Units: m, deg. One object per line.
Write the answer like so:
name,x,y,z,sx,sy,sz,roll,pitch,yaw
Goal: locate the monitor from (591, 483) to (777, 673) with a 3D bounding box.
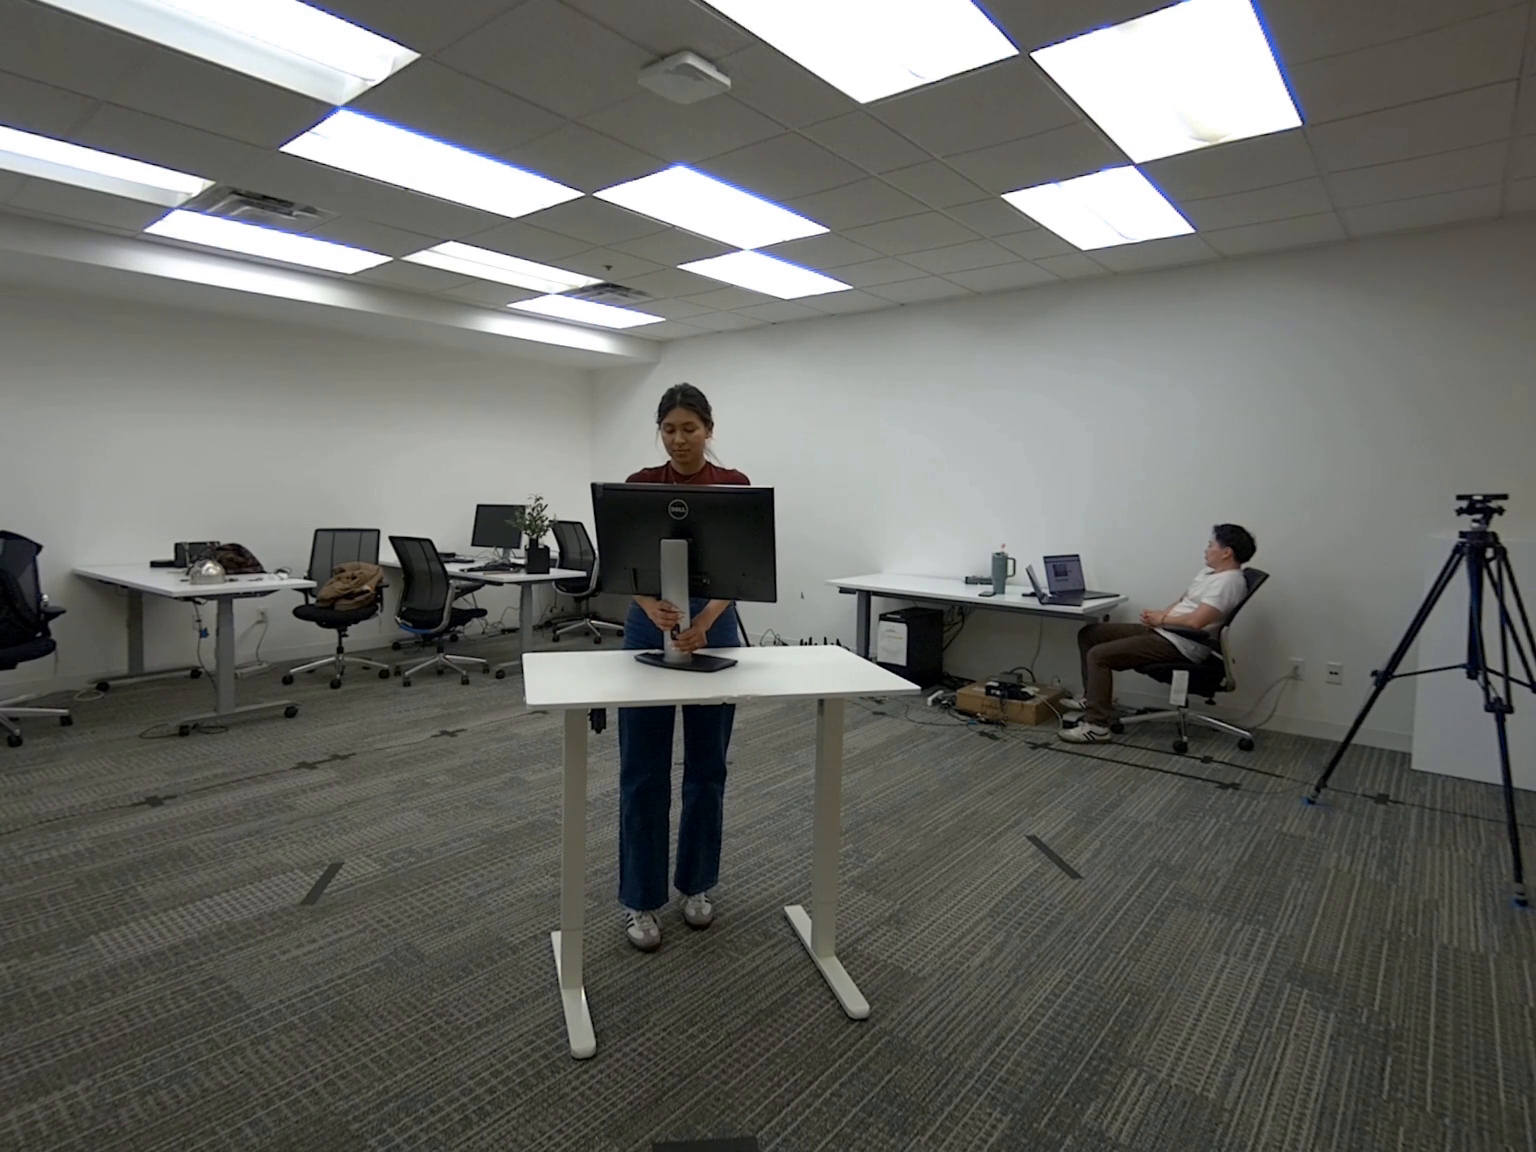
monitor,-0.266,-0.003,2.432,0.546,0.519,0.186,2,6,11
